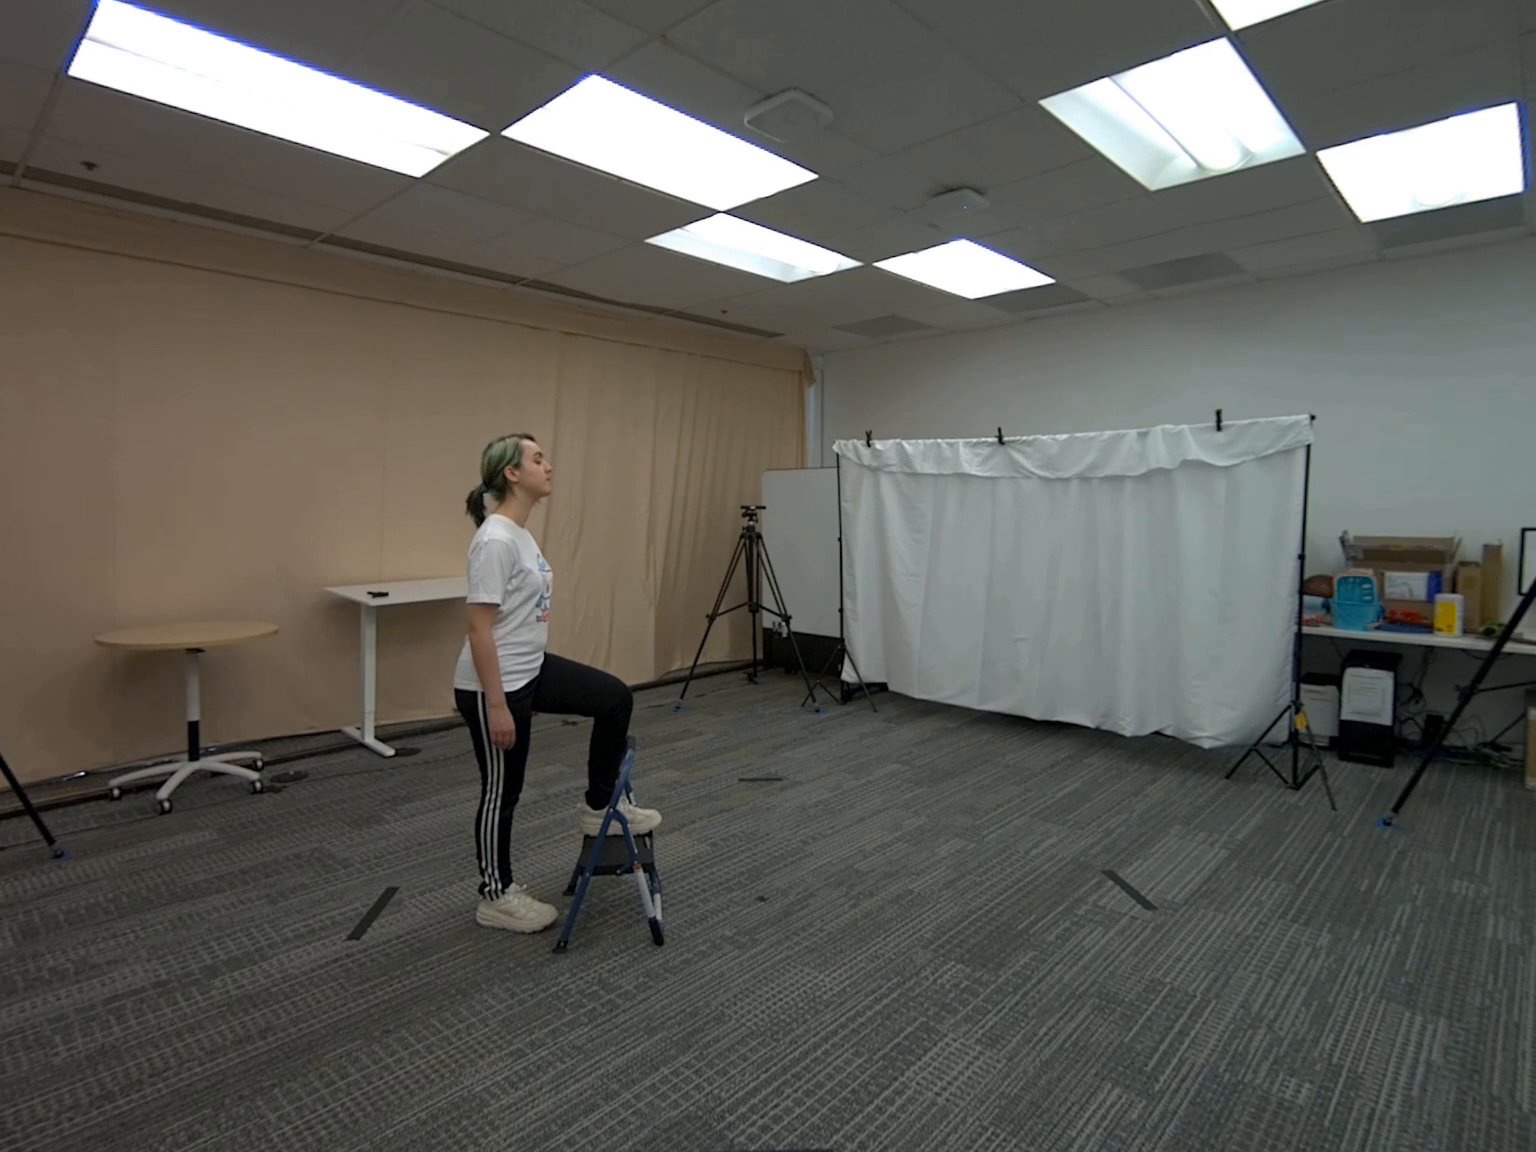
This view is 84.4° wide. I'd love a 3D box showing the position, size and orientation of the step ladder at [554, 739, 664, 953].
[{"bbox_3d":[-0.534,0.864,2.834,0.346,0.605,0.435,-1,3,-8],"label":"step ladder"}]
